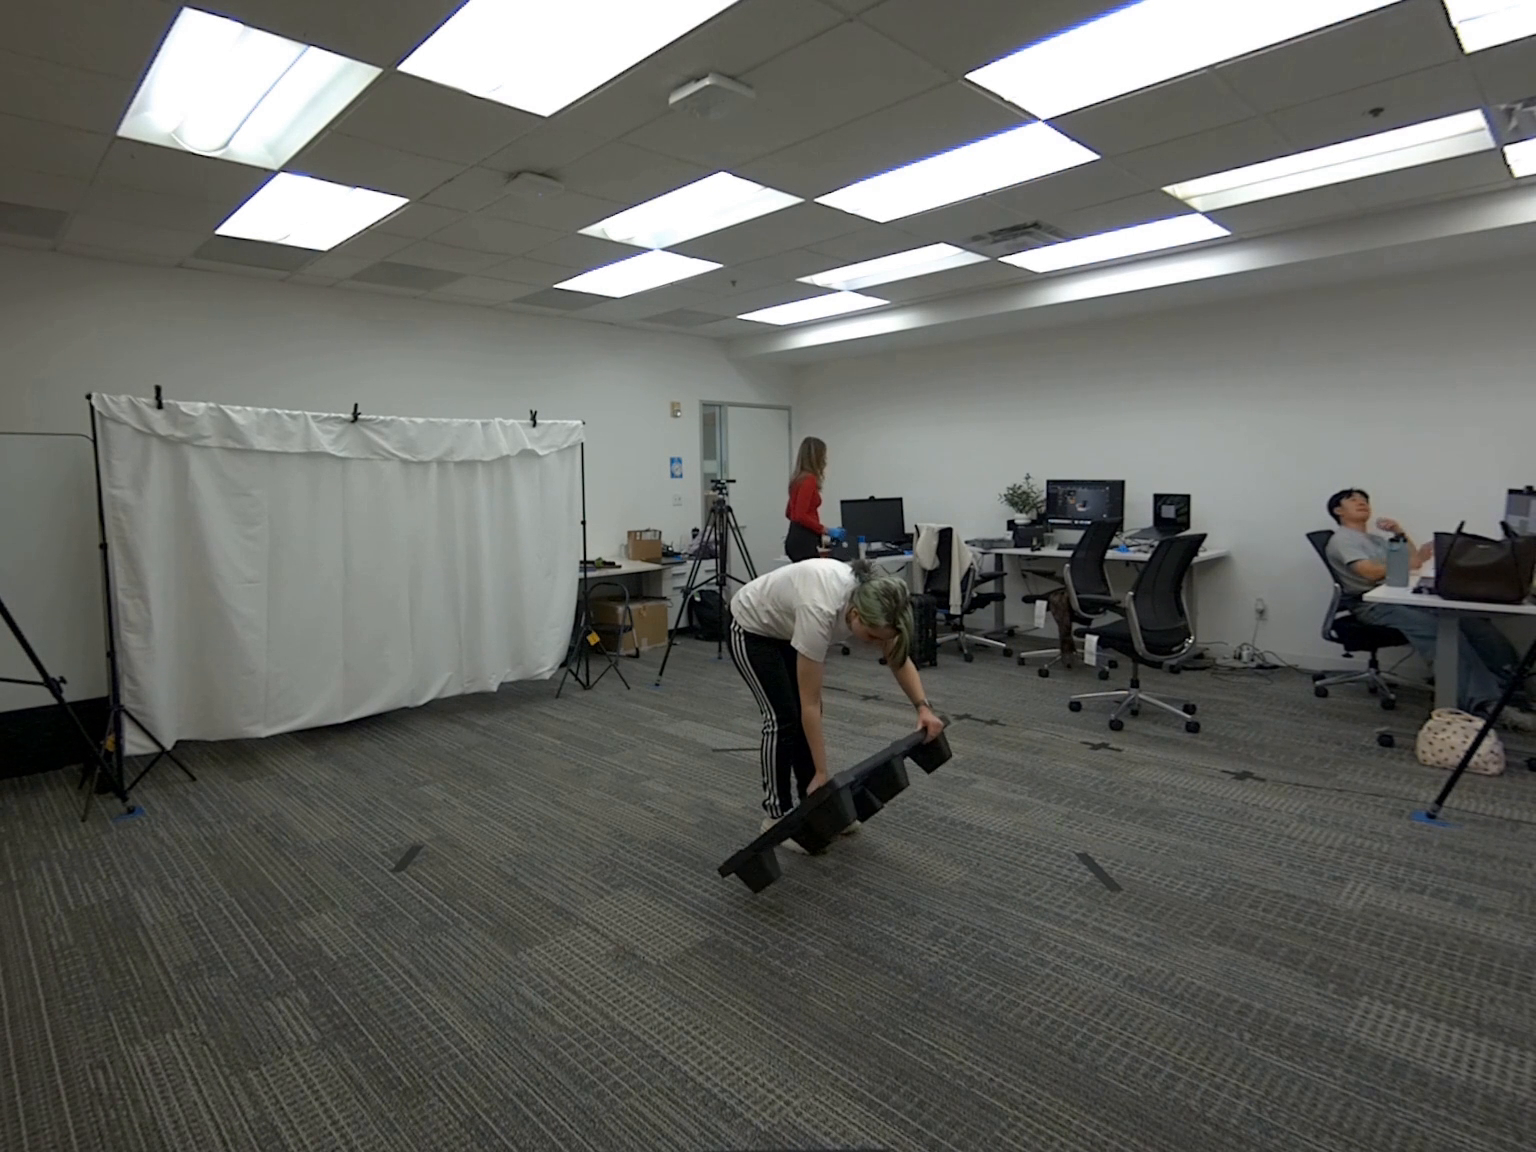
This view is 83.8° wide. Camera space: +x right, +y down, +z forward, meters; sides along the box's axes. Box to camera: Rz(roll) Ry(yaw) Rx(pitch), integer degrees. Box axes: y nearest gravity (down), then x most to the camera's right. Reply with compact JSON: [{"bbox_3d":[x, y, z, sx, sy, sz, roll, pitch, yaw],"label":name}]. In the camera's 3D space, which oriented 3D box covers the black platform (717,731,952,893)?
[{"bbox_3d":[0.276,0.775,2.893,0.786,0.147,0.604,-11,-31,-53],"label":"black platform"}]
